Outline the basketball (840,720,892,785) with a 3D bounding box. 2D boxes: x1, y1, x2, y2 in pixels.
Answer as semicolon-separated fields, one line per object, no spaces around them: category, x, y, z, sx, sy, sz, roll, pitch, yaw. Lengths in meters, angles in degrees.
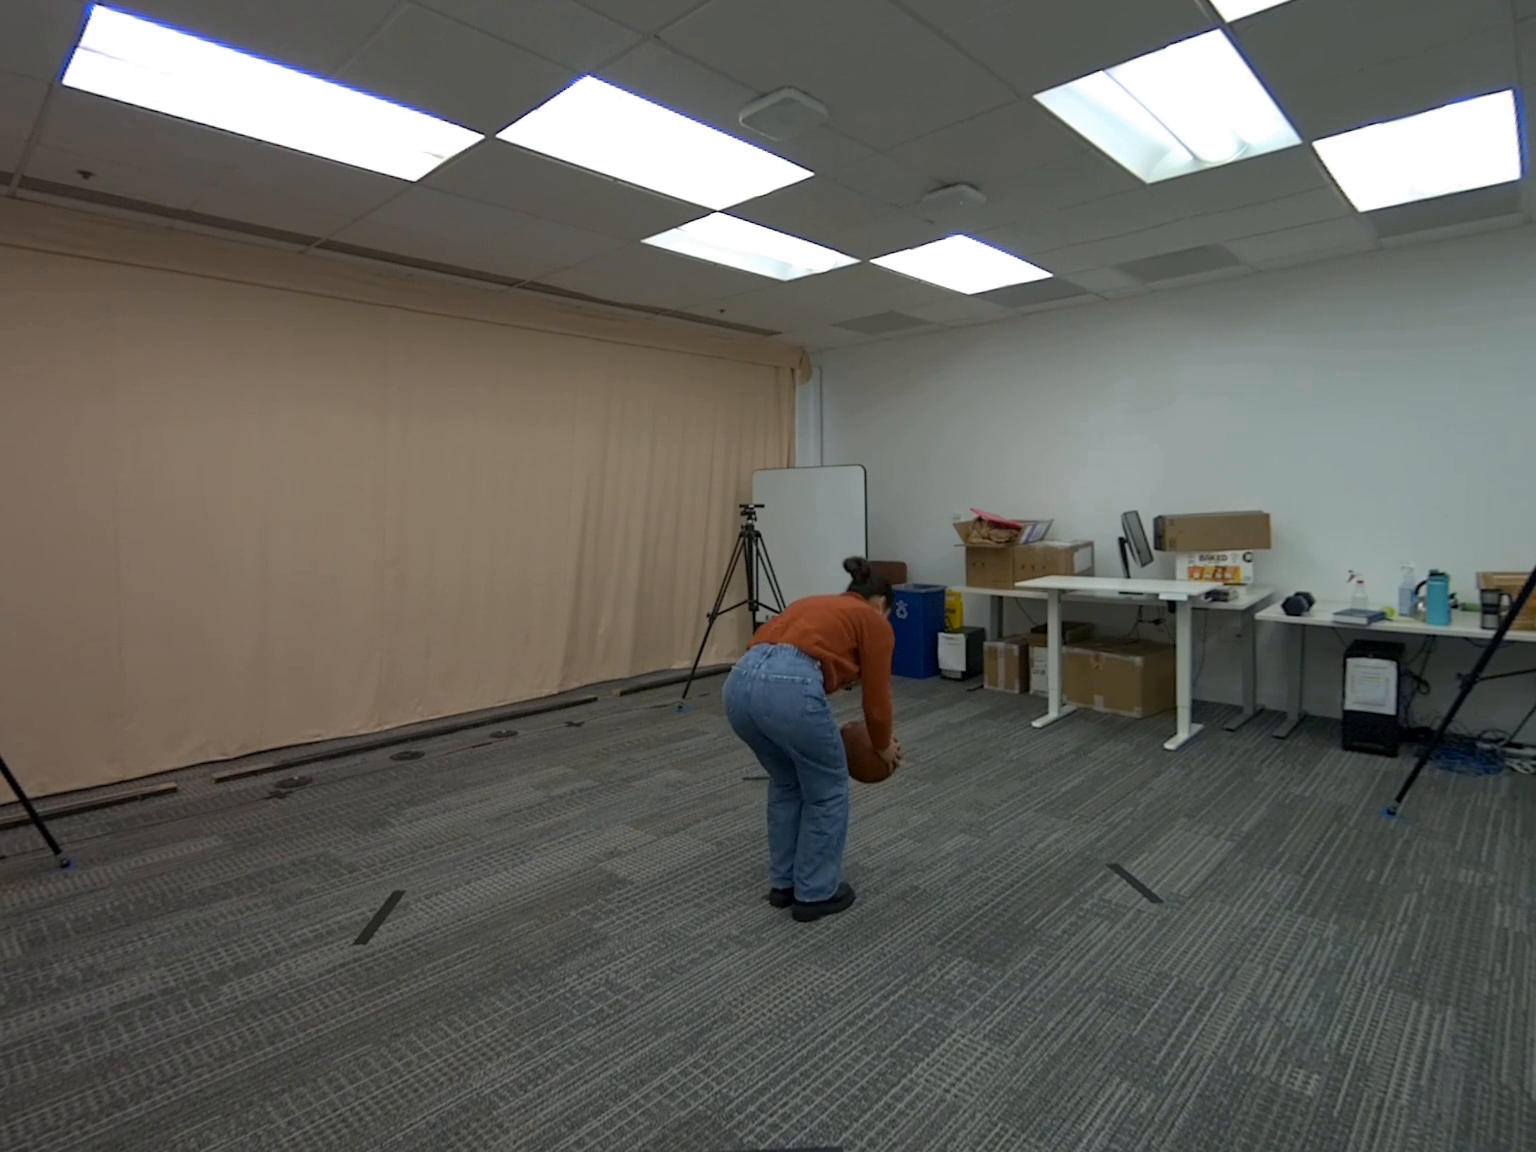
basketball;0.379;0.657;3.191;0.236;0.235;0.237;-1;4;-2
